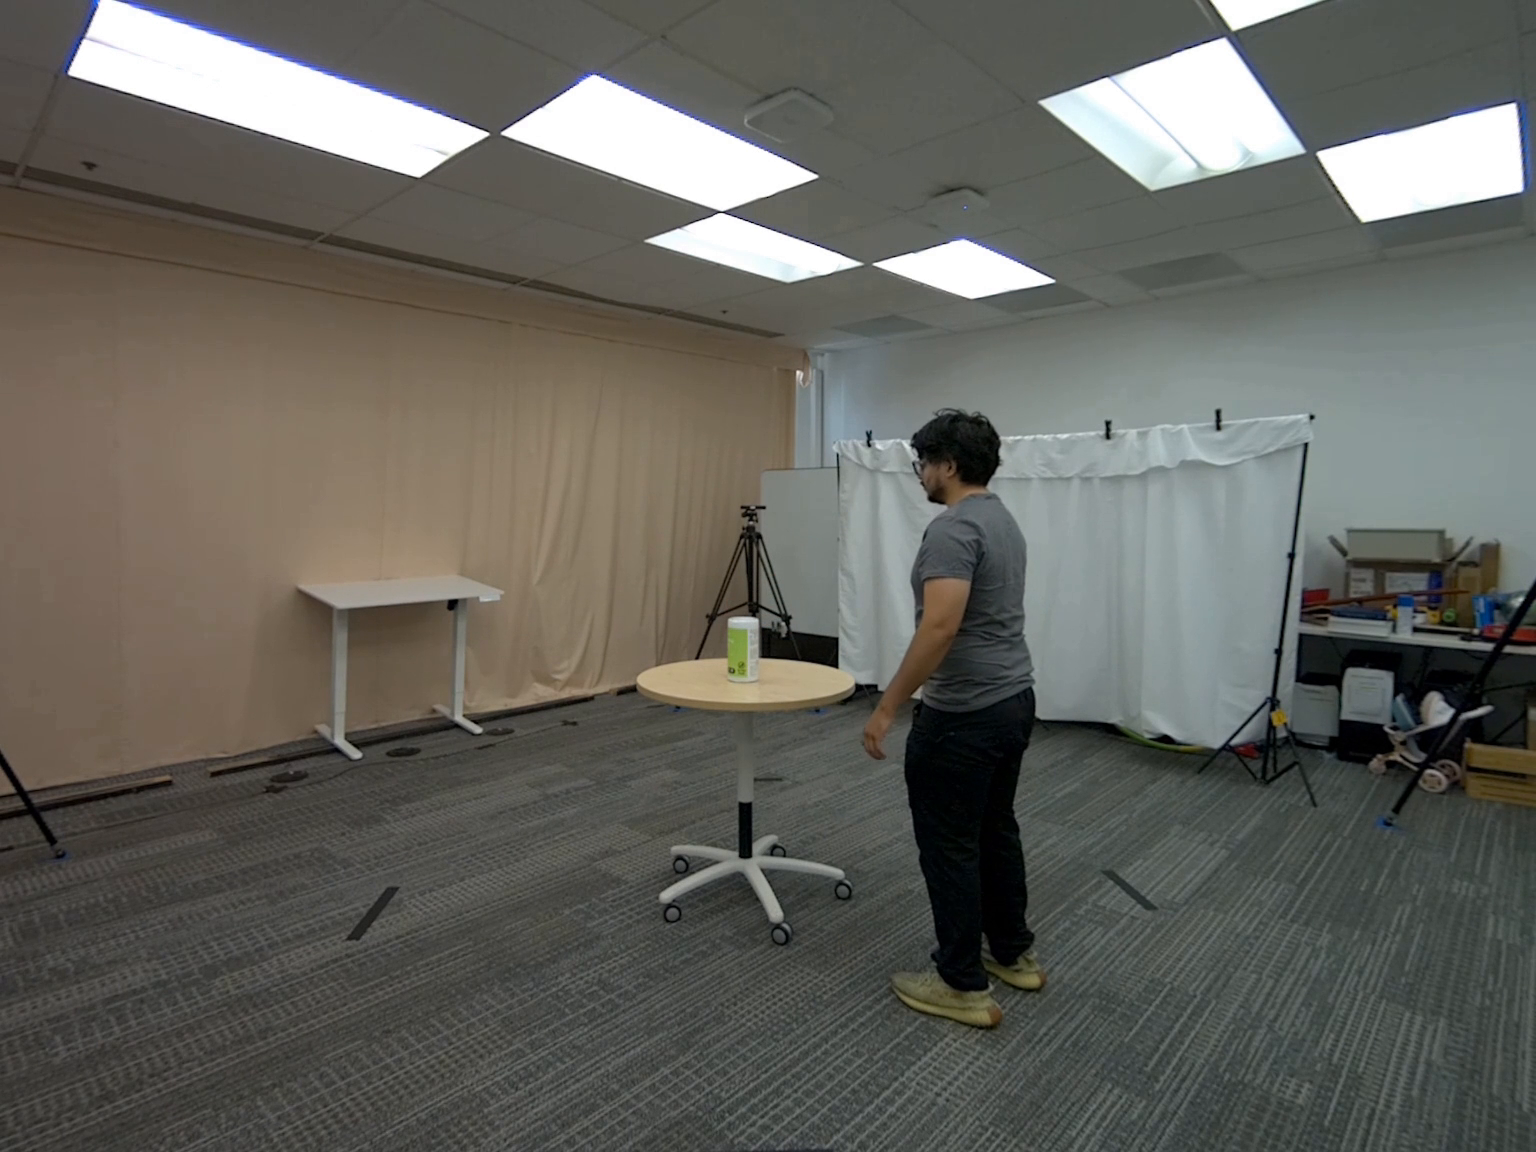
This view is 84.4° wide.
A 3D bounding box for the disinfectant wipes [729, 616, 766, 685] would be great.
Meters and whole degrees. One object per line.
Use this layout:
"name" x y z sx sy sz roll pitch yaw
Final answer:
"disinfectant wipes" -0.074 0.254 2.934 0.118 0.217 0.118 1 3 -2
